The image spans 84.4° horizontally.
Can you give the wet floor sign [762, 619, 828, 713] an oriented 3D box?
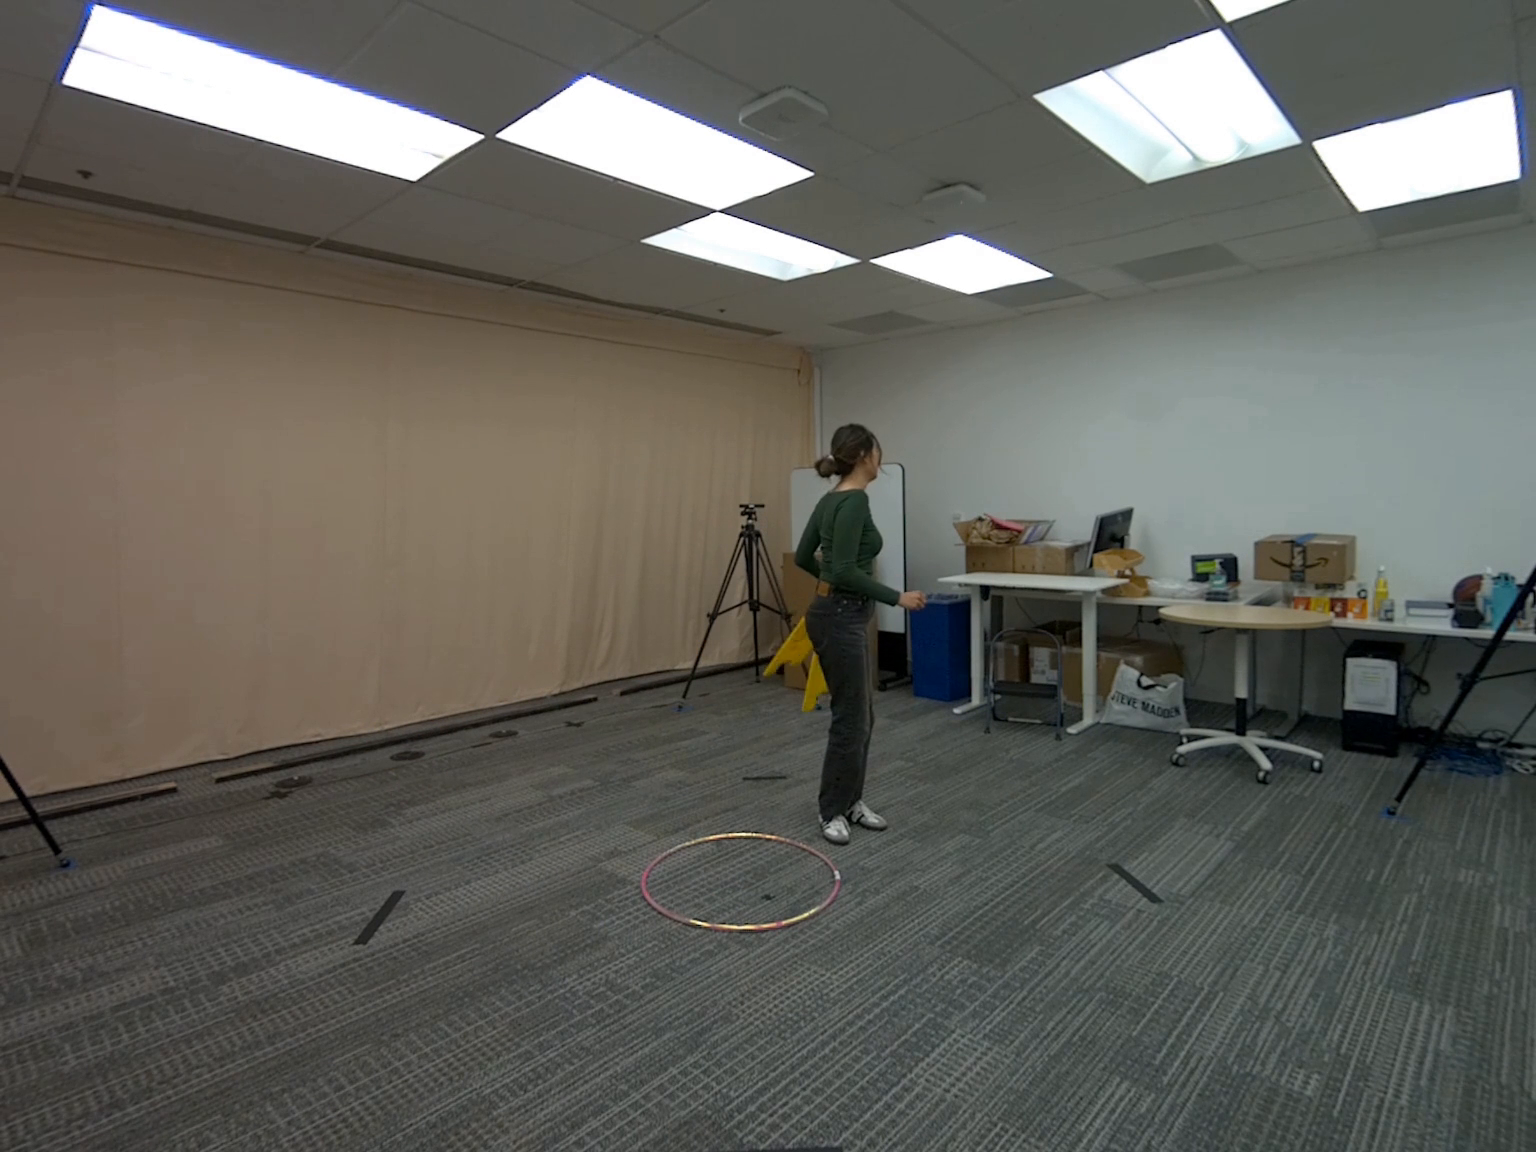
[{"bbox_3d":[0.282,0.286,4.015,0.275,0.641,0.300,-13,42,-42],"label":"wet floor sign"}]
